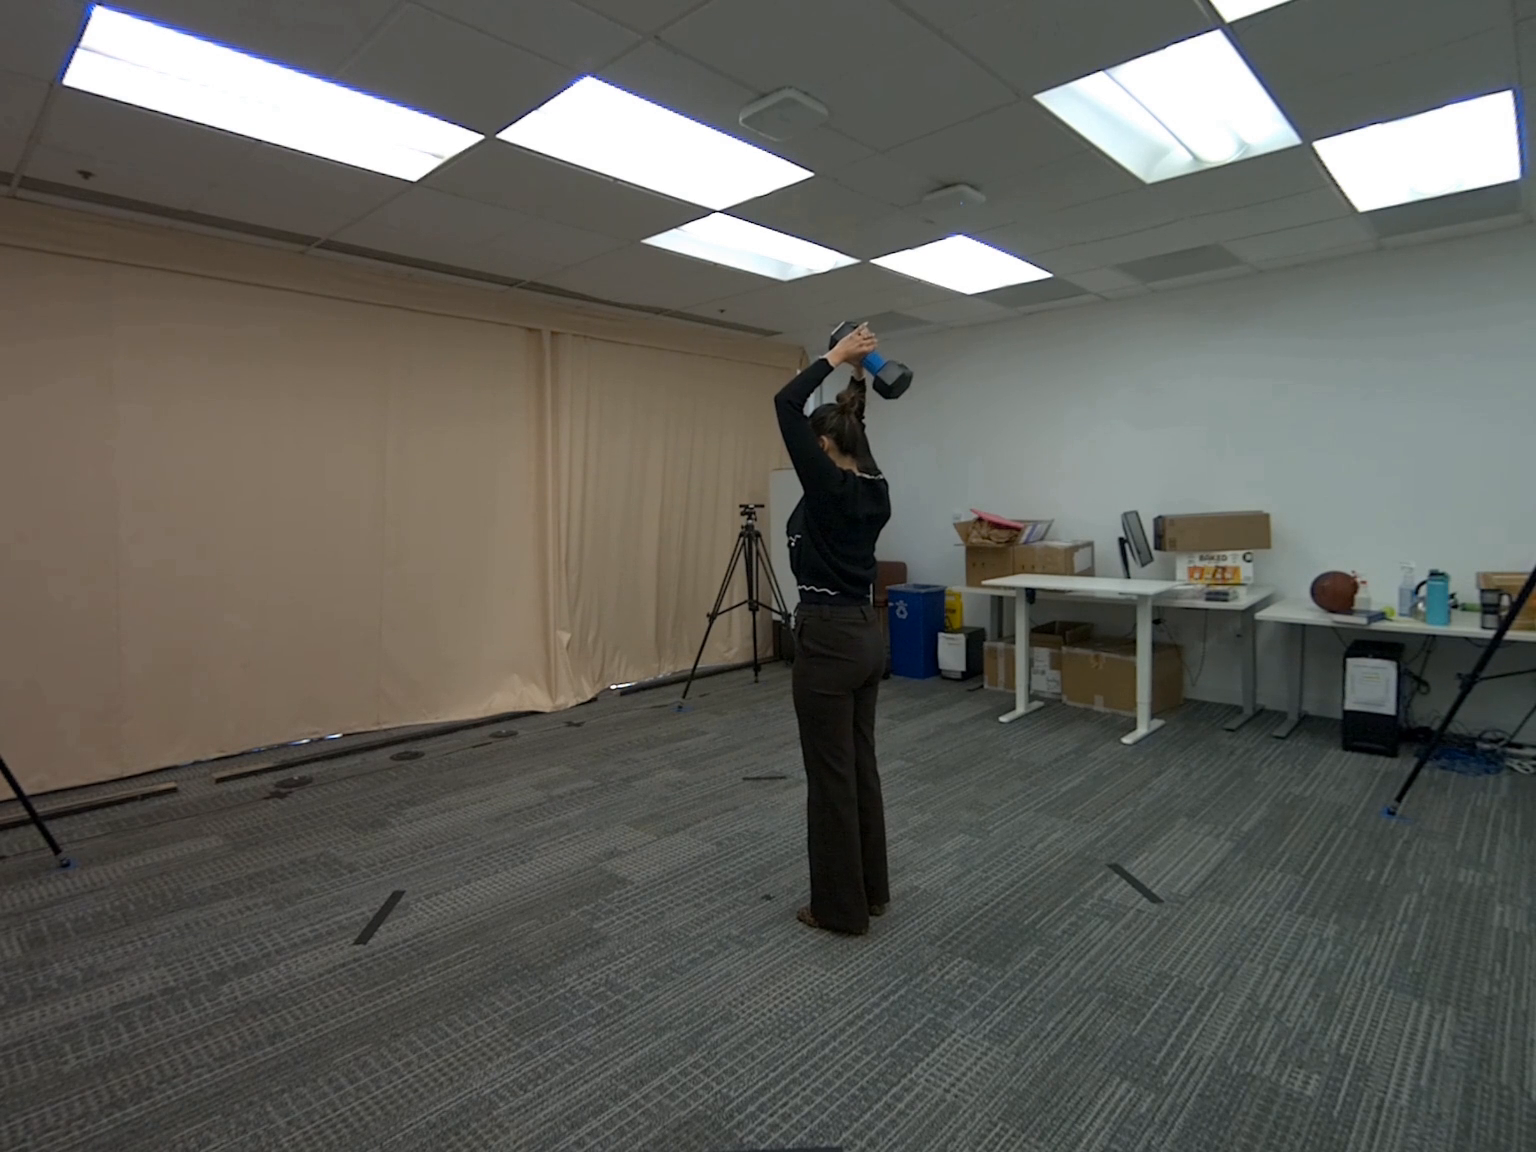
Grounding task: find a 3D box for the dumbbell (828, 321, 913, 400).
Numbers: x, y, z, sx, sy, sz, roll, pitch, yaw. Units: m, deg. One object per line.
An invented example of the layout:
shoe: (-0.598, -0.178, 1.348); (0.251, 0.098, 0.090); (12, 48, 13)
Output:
dumbbell: (0.332, -0.692, 2.700); (0.301, 0.123, 0.105); (48, 6, 24)
